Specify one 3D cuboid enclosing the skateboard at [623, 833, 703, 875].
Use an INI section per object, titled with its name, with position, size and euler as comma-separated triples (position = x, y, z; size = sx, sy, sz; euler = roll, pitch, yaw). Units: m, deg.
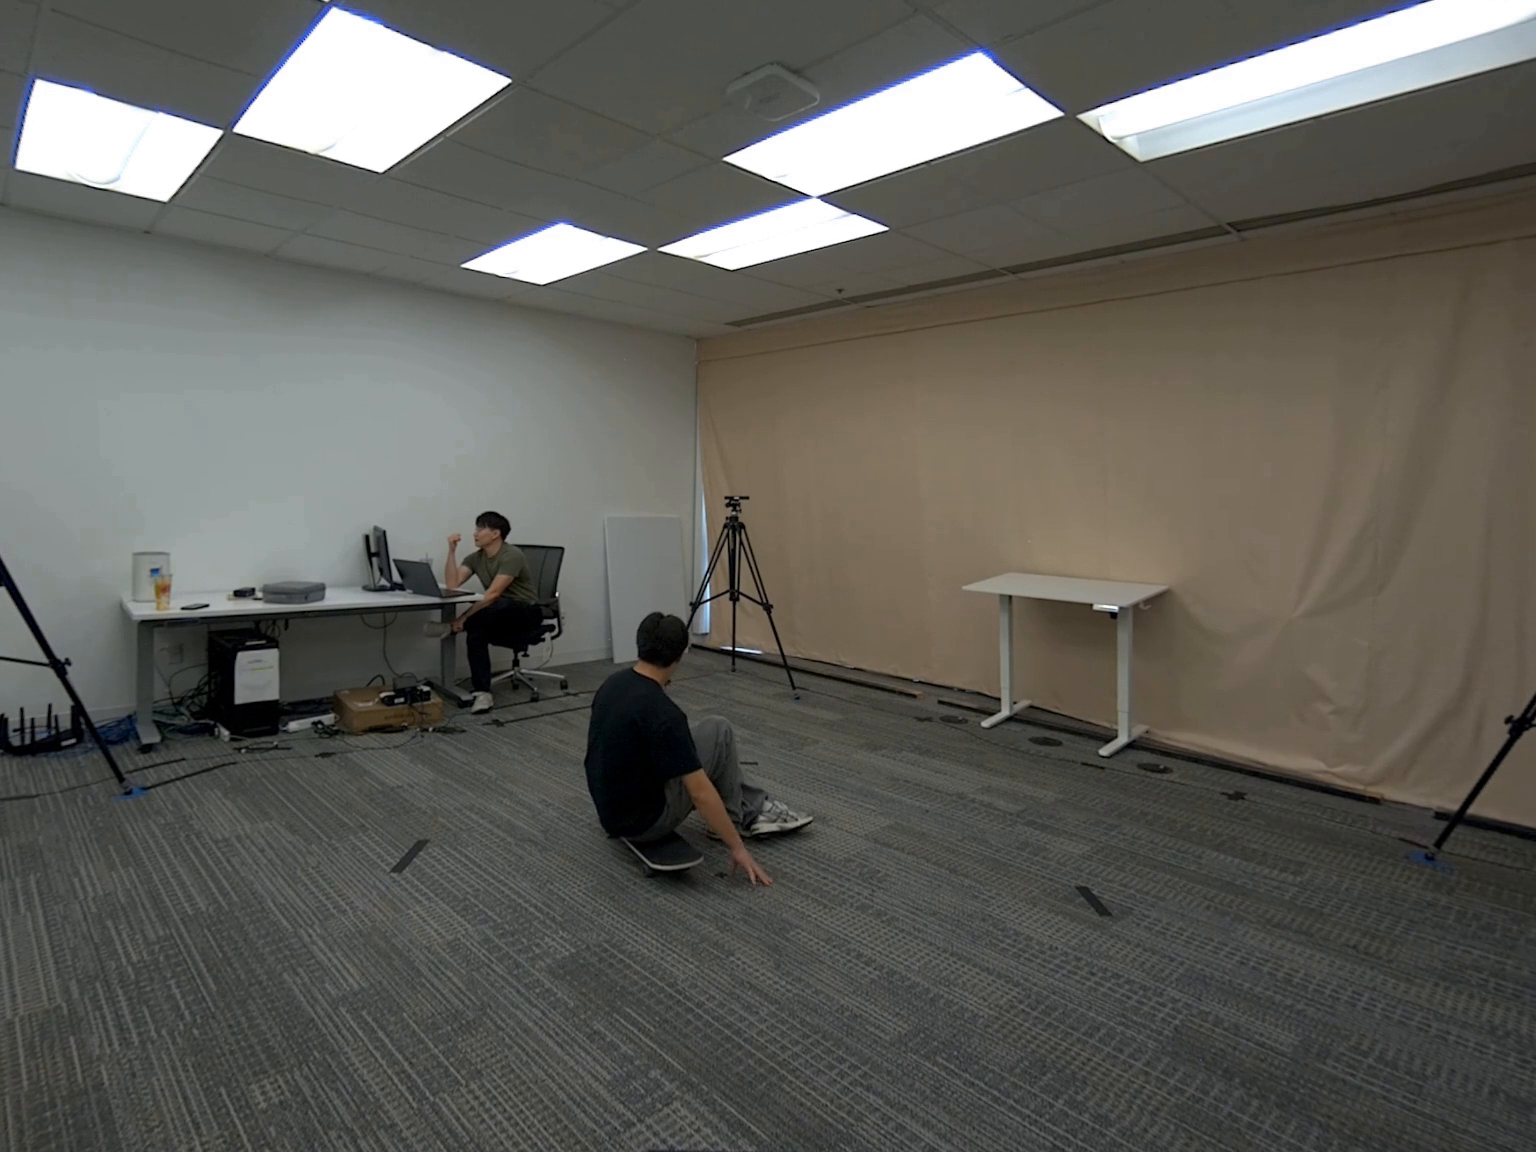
[skateboard]
position = -0.483, 1.020, 3.289
size = 0.190, 0.110, 0.803
euler = -7, 8, -29
